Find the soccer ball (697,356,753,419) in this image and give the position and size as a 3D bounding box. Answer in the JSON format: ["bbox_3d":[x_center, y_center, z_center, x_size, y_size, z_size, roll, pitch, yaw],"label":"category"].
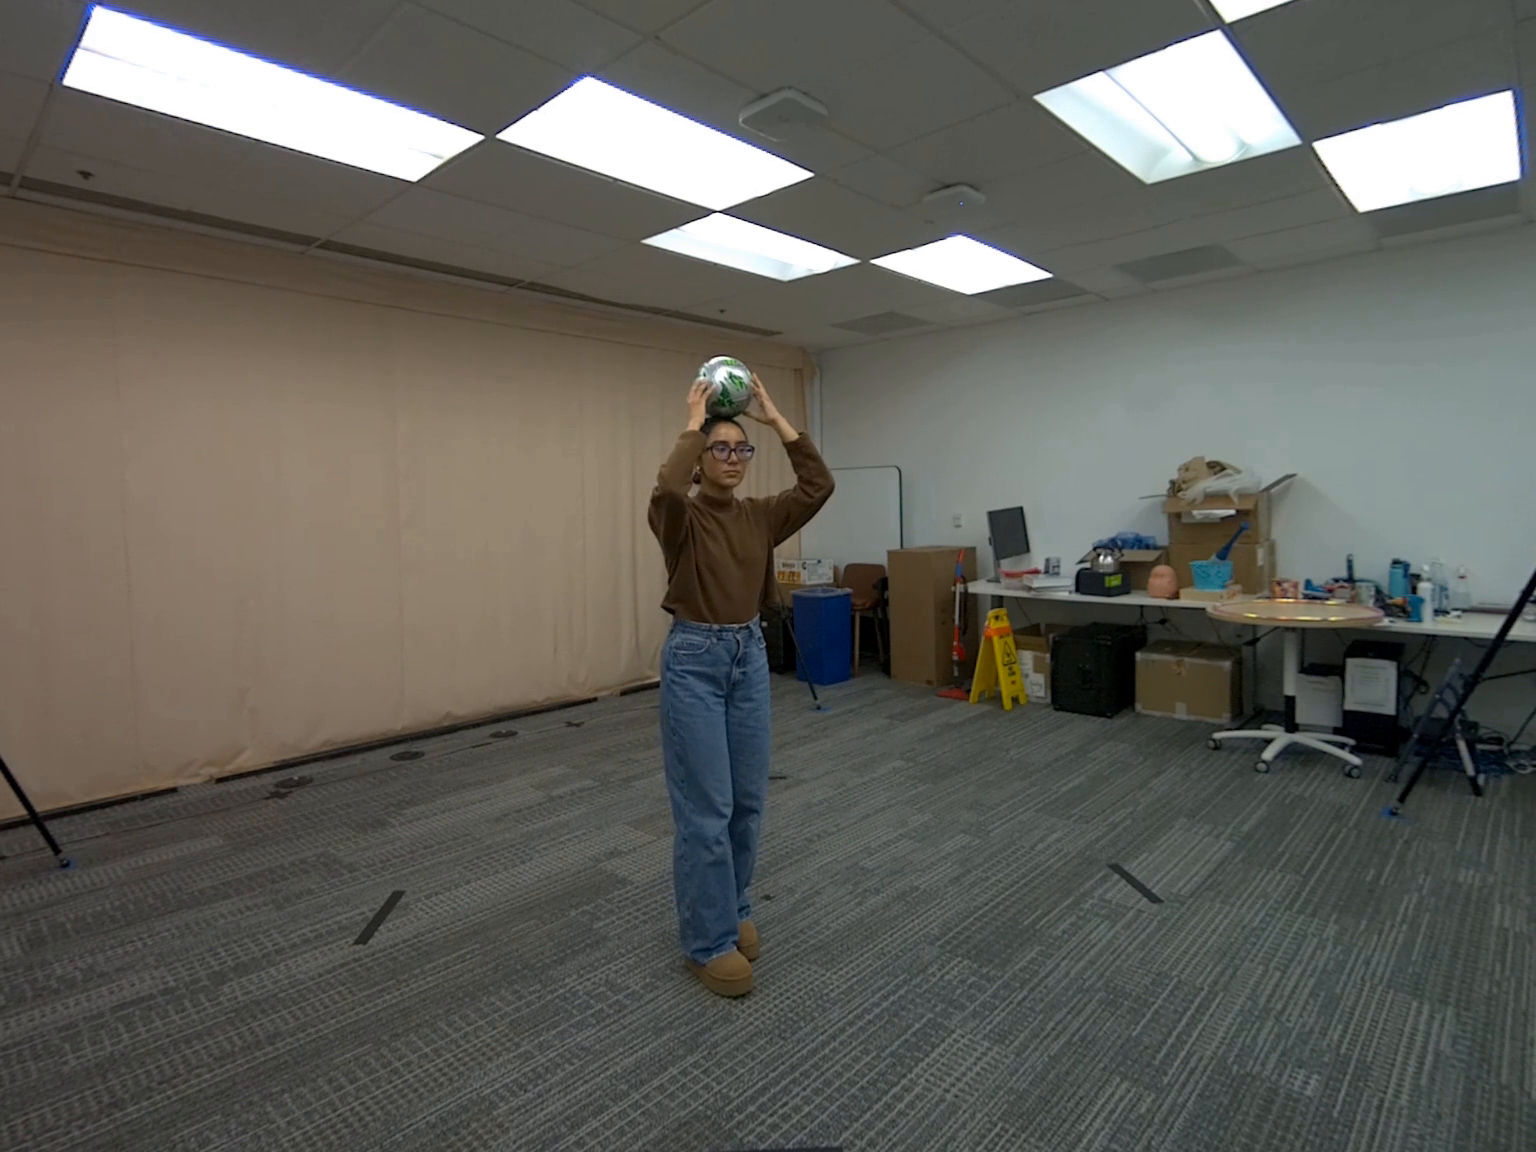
[{"bbox_3d":[-0.135,-0.570,2.547,0.187,0.187,0.188,-1,4,-2],"label":"soccer ball"}]
